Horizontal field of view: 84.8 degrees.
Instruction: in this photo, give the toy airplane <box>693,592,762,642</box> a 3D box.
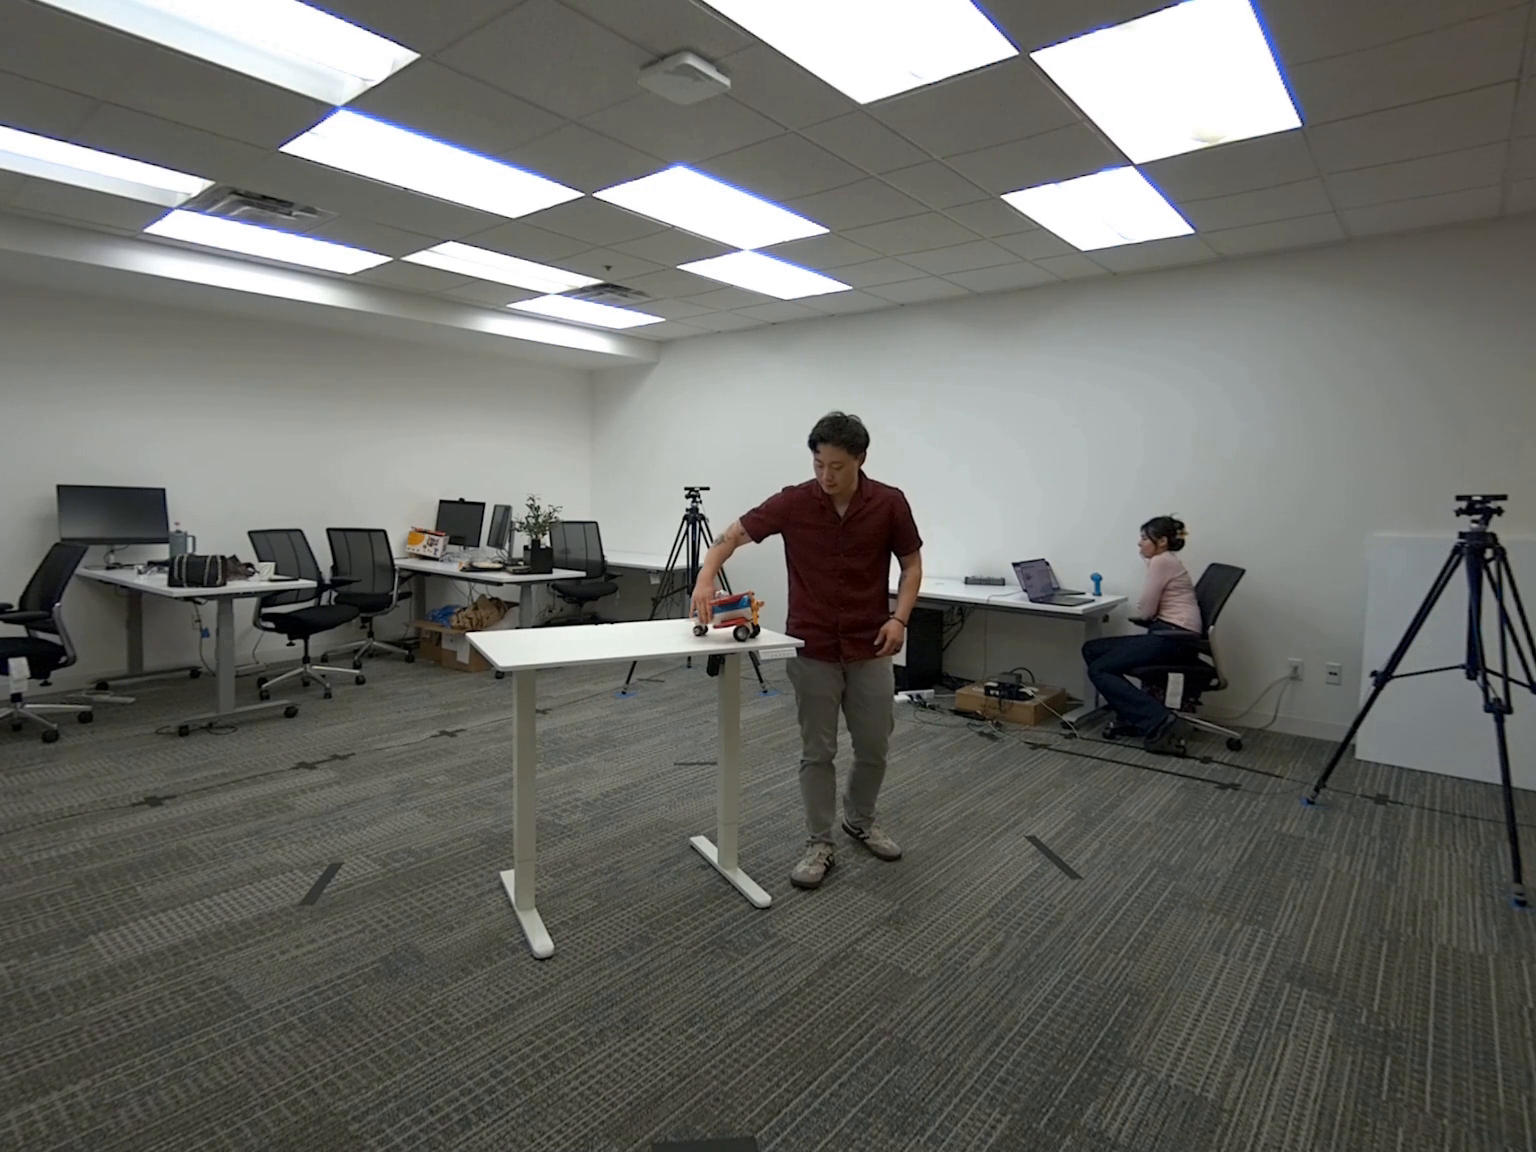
[{"bbox_3d":[-0.156,0.131,2.862,0.258,0.156,0.253,1,4,-4],"label":"toy airplane"}]
